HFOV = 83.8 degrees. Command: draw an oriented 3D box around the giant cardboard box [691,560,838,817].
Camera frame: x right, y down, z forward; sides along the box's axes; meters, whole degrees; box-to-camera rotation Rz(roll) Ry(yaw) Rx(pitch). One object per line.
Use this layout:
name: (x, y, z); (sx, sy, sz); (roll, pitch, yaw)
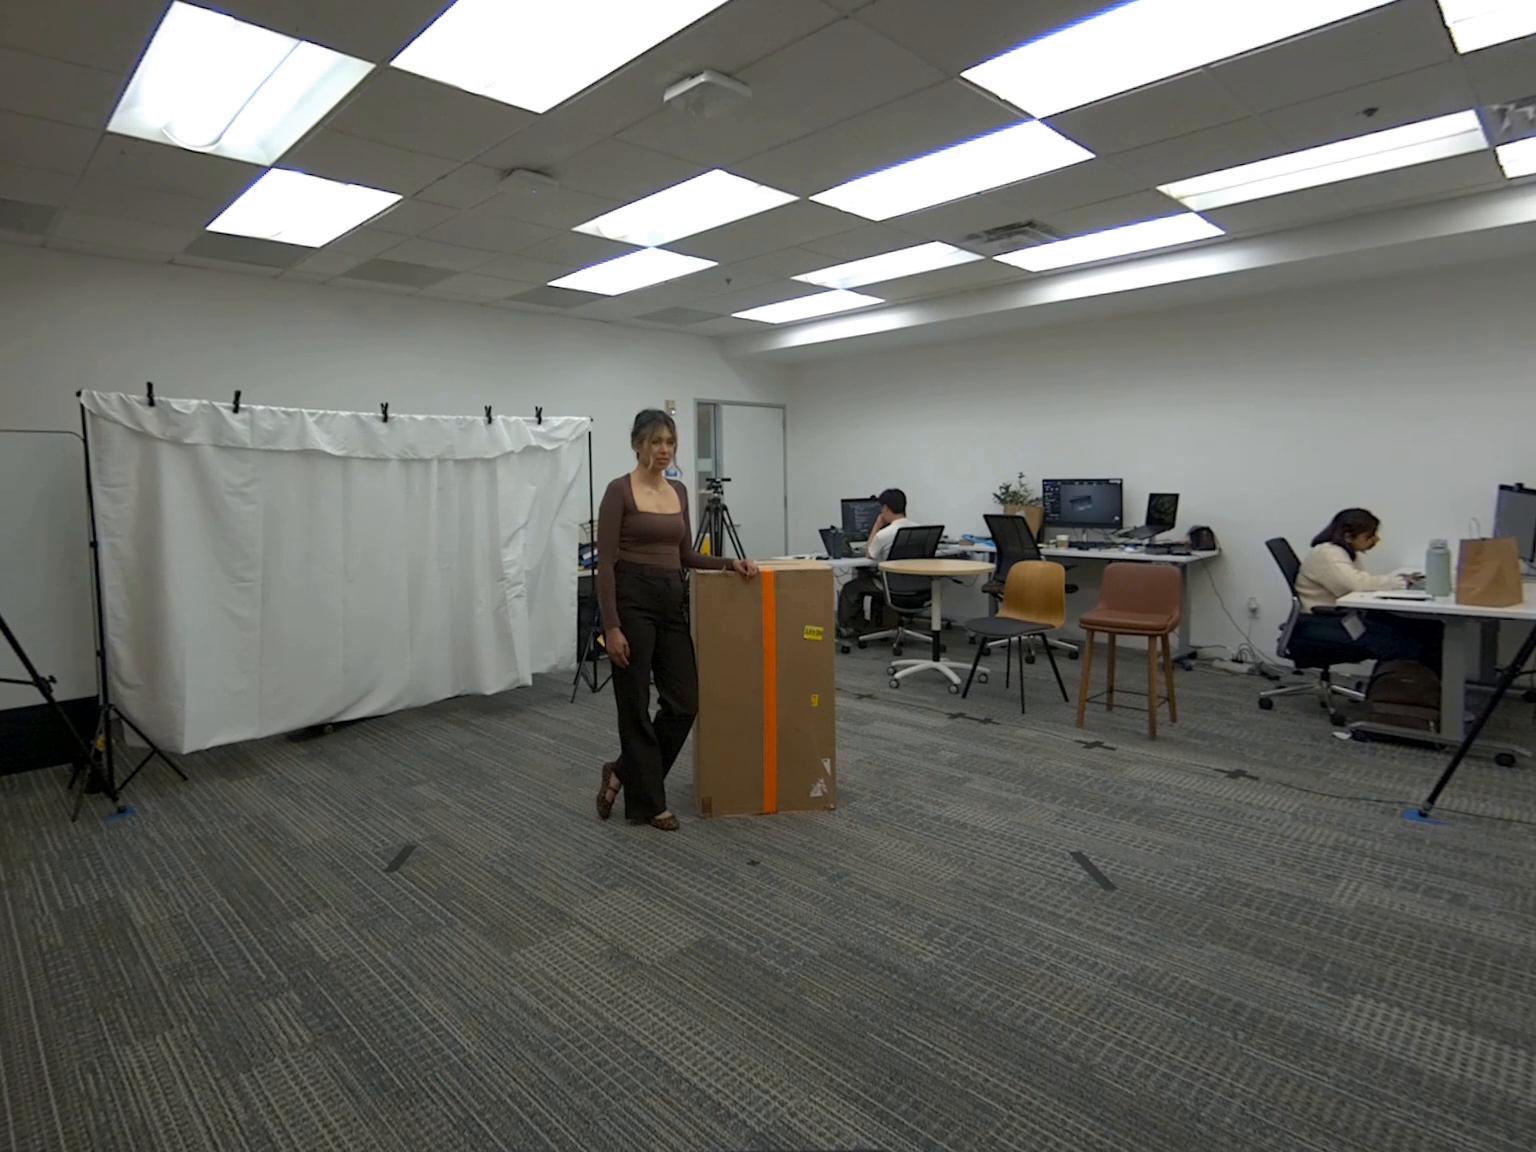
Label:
giant cardboard box: (-0.029, 0.462, 3.739); (0.580, 1.024, 0.452); (-1, 4, -8)
